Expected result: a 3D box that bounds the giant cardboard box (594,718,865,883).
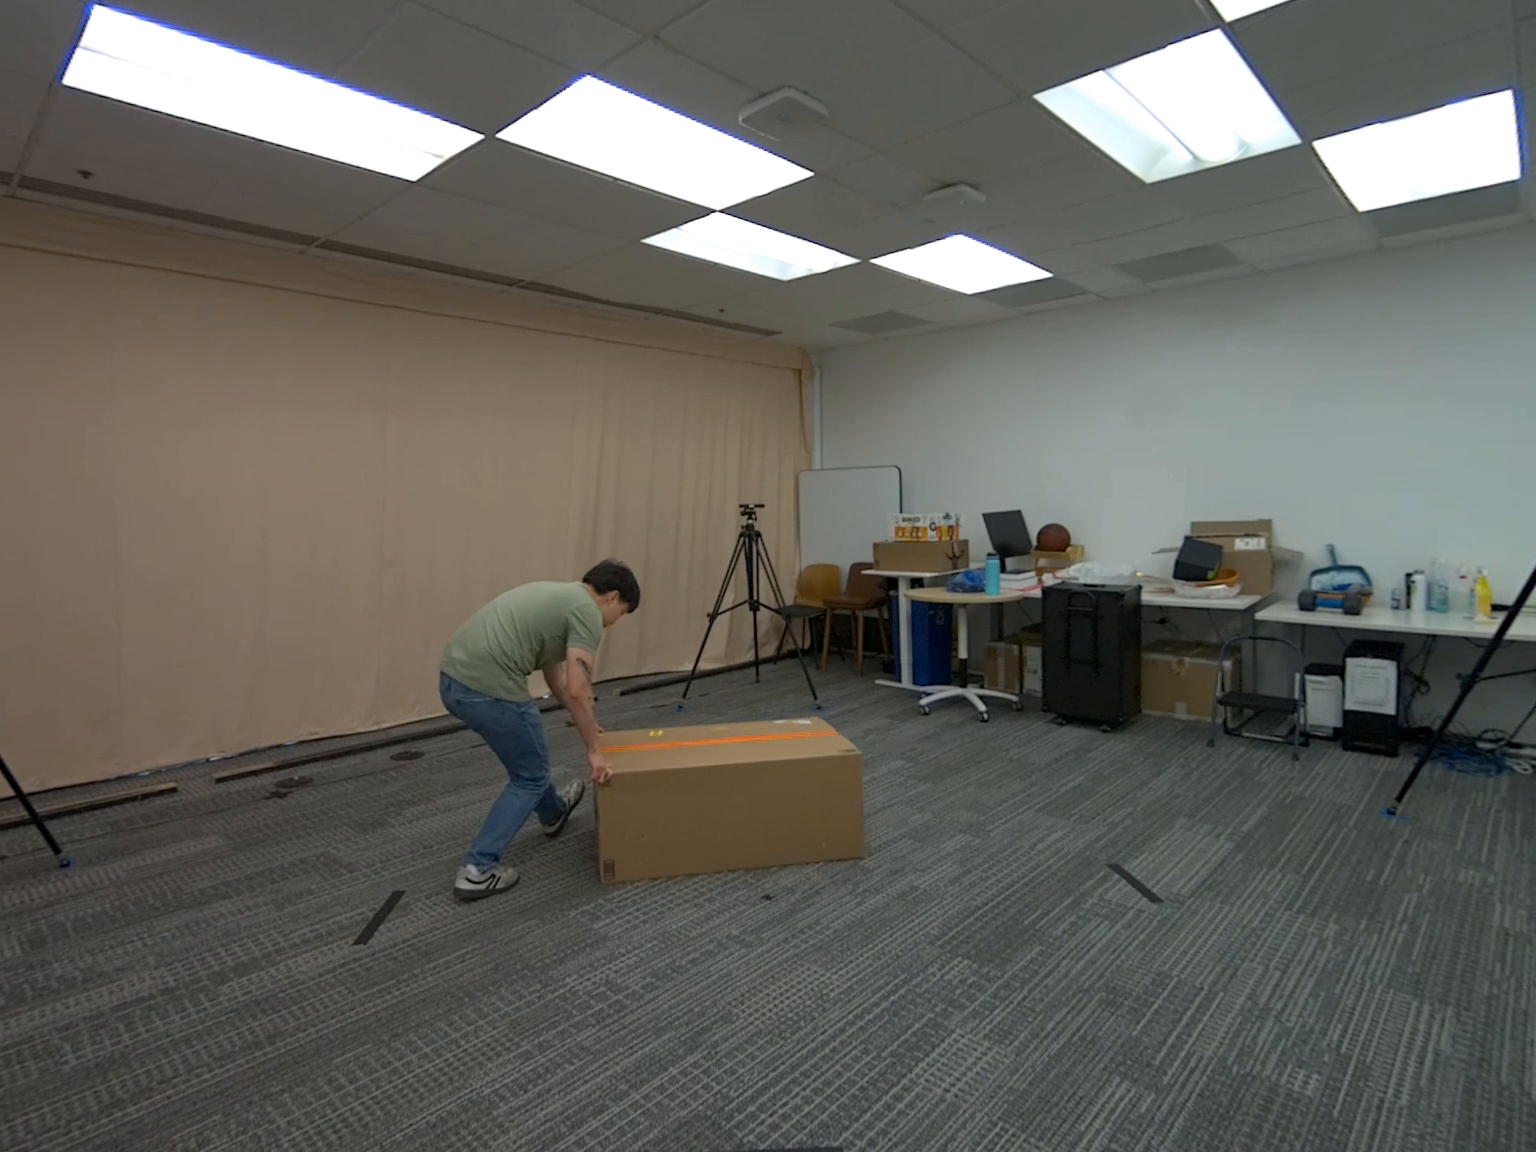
[{"bbox_3d":[-0.189,0.890,3.466,1.014,0.425,0.585,-2,4,-11],"label":"giant cardboard box"}]
